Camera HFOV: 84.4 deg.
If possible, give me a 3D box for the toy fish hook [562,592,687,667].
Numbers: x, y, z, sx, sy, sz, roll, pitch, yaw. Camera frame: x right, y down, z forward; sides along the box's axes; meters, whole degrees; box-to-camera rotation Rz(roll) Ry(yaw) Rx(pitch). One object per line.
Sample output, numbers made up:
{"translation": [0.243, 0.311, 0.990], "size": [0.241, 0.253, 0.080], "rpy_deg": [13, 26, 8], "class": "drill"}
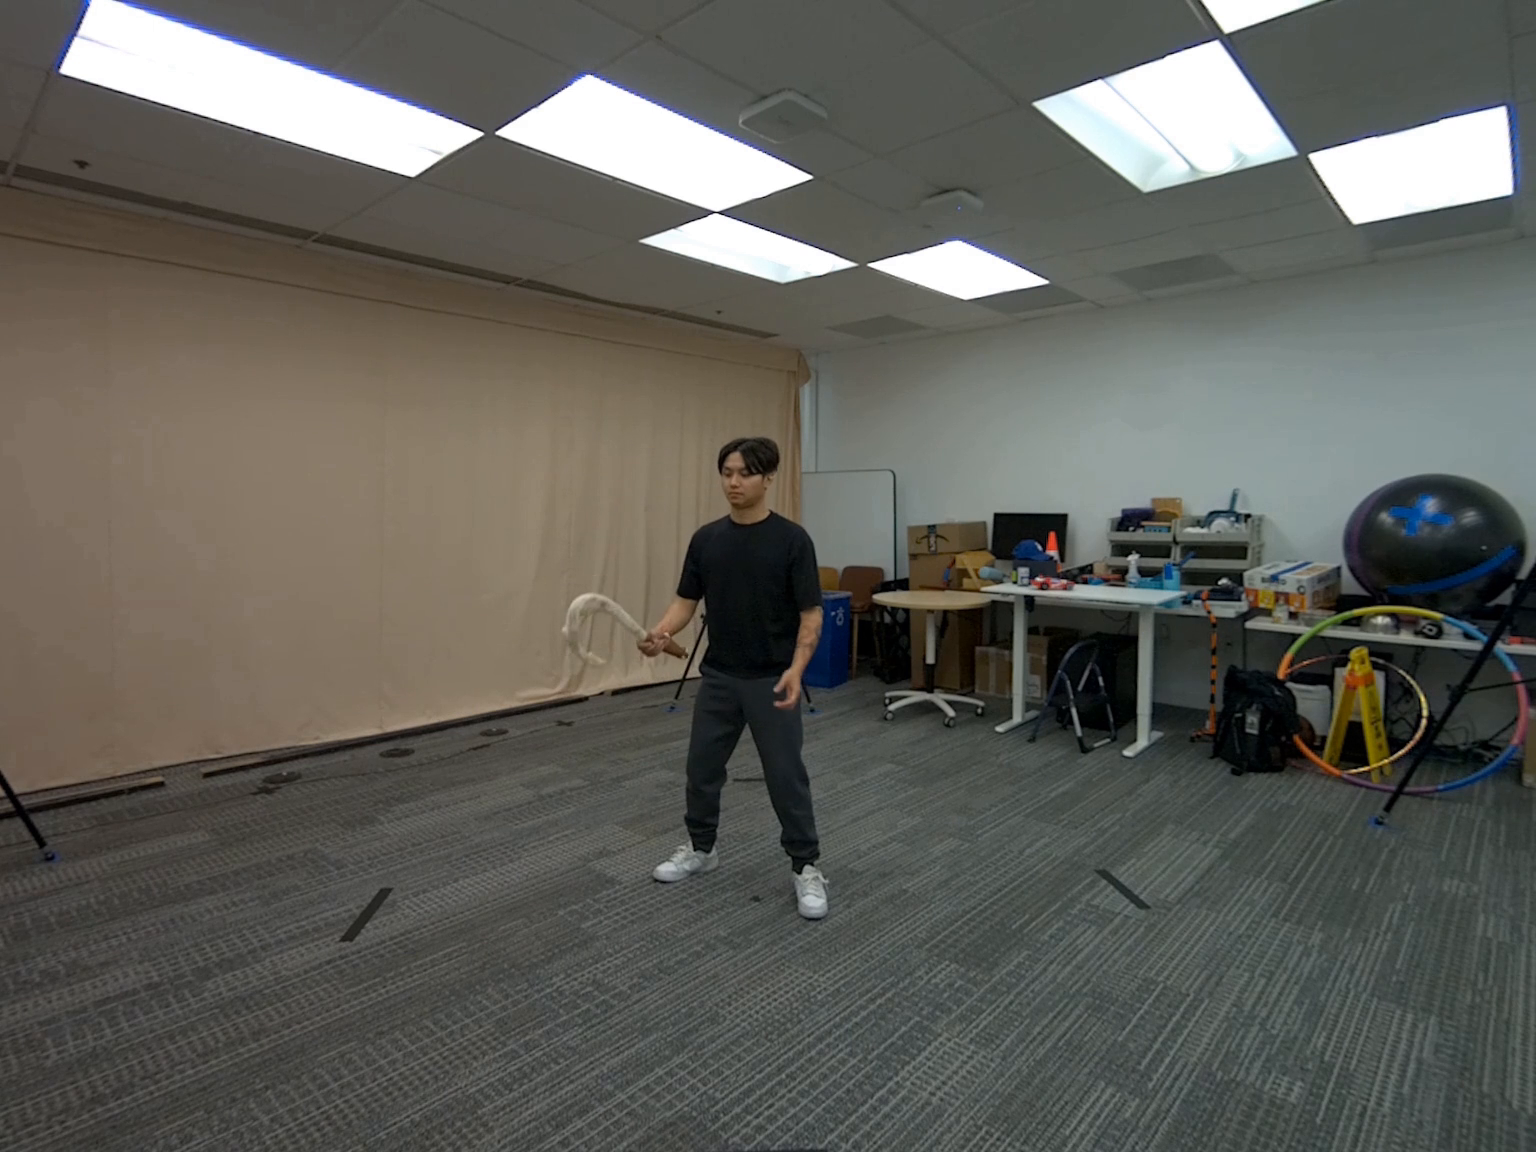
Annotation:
{"translation": [-0.454, 0.217, 2.808], "size": [0.489, 0.225, 0.050], "rpy_deg": [30, -16, -37], "class": "toy fish hook"}
